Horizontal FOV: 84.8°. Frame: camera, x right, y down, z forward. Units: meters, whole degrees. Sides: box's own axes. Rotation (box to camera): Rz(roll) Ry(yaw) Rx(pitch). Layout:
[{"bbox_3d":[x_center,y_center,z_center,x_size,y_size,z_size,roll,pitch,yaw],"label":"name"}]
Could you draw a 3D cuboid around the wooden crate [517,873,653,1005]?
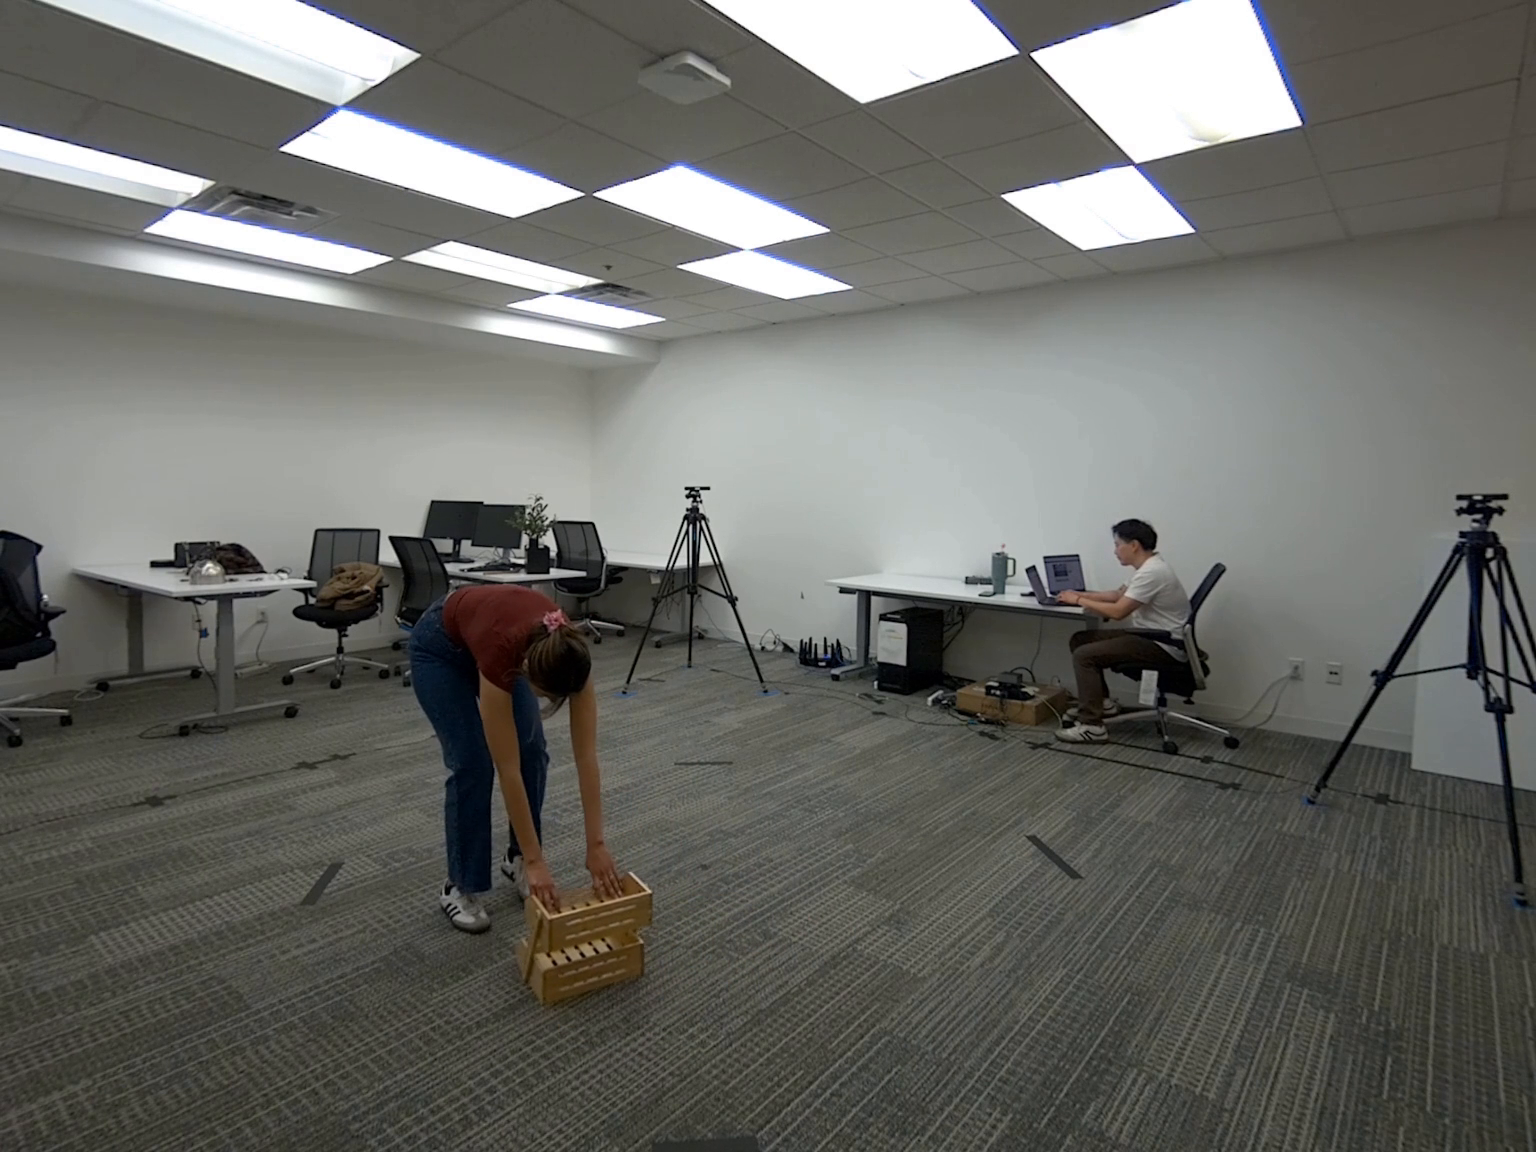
[{"bbox_3d":[-0.537,0.995,2.421,0.315,0.272,0.312,-2,6,-32],"label":"wooden crate"}]
